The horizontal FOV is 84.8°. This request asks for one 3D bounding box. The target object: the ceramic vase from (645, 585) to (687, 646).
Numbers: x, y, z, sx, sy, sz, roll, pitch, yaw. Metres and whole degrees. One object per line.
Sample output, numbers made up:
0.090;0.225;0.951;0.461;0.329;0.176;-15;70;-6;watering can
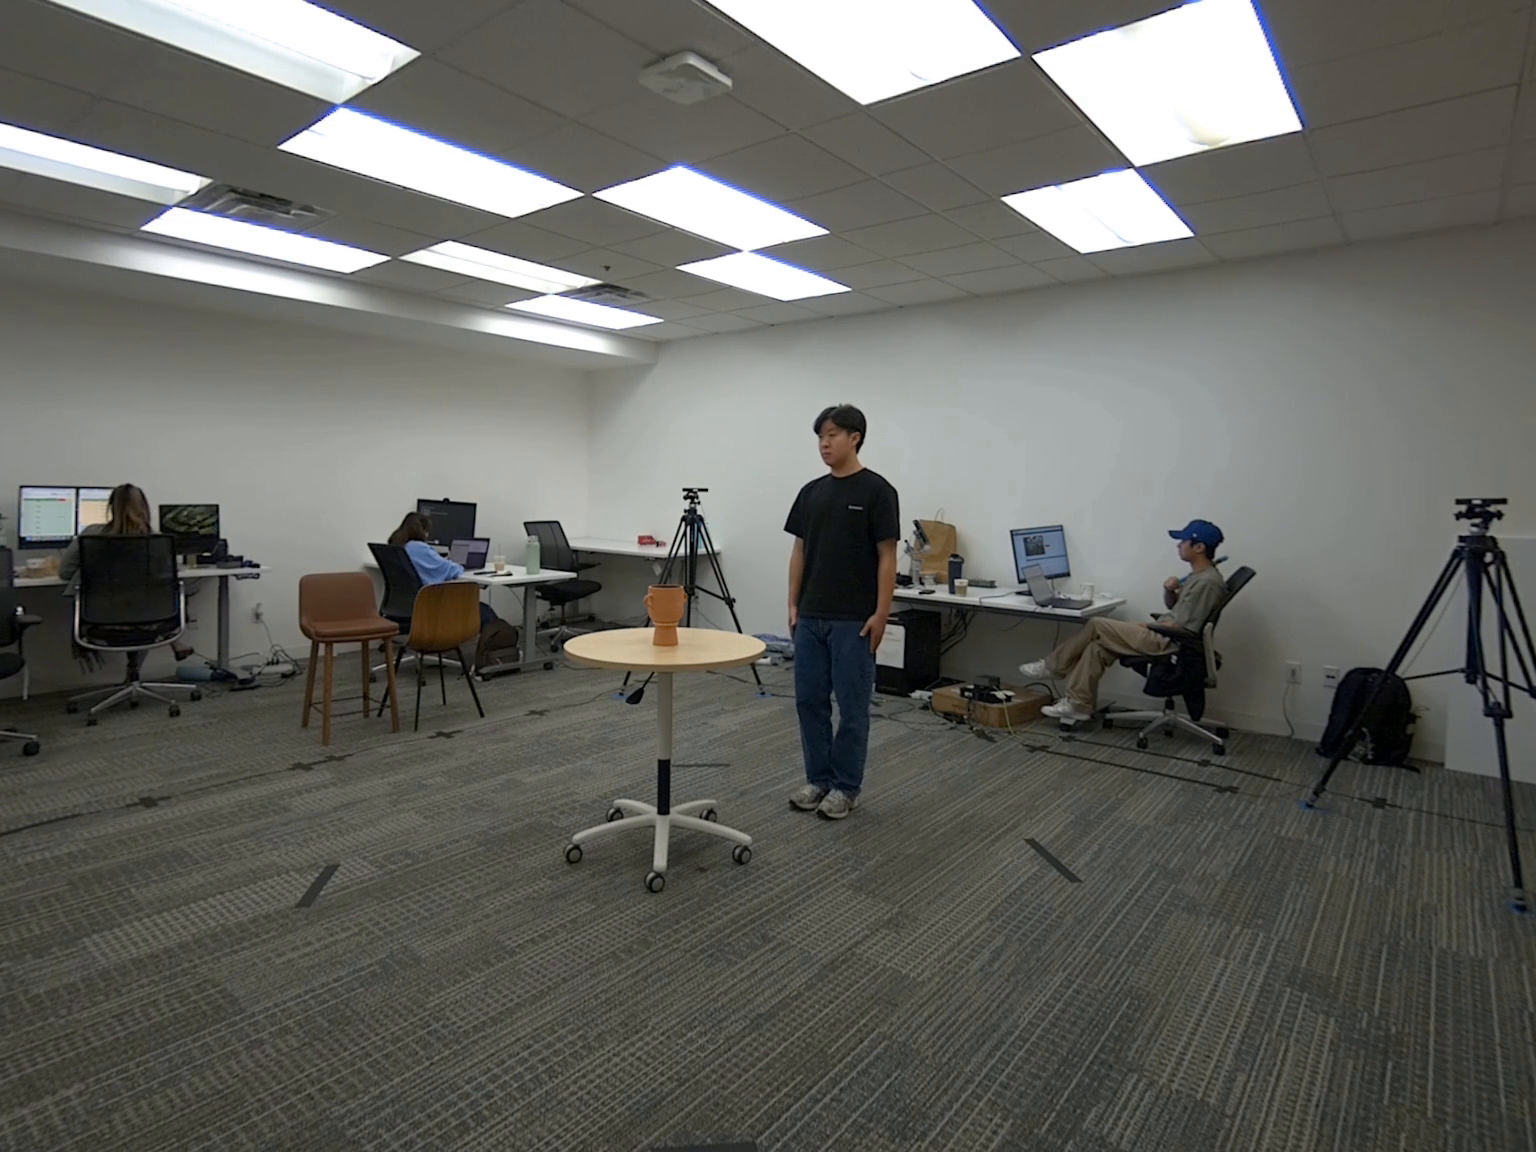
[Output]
-0.403;0.149;3.235;0.159;0.219;0.135;0;4;0;ceramic vase
